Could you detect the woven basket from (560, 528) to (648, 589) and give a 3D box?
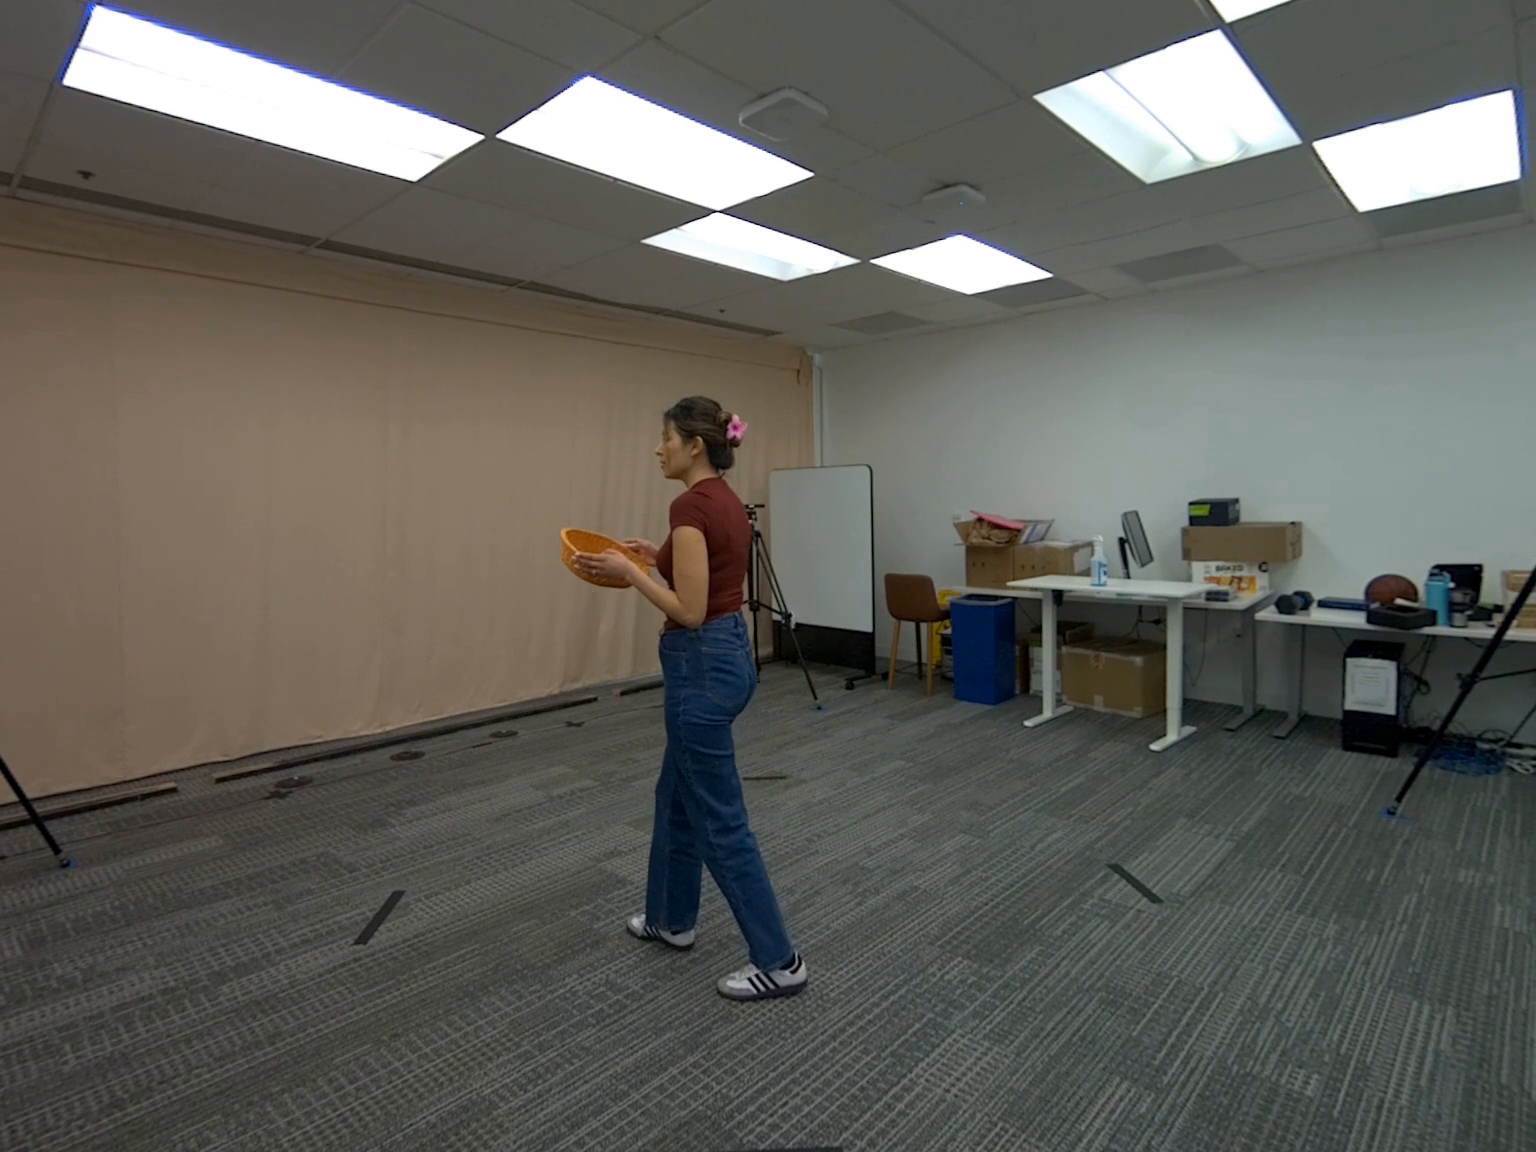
[{"bbox_3d":[-0.513,-0.044,2.566,0.260,0.073,0.339,41,15,28],"label":"woven basket"}]
